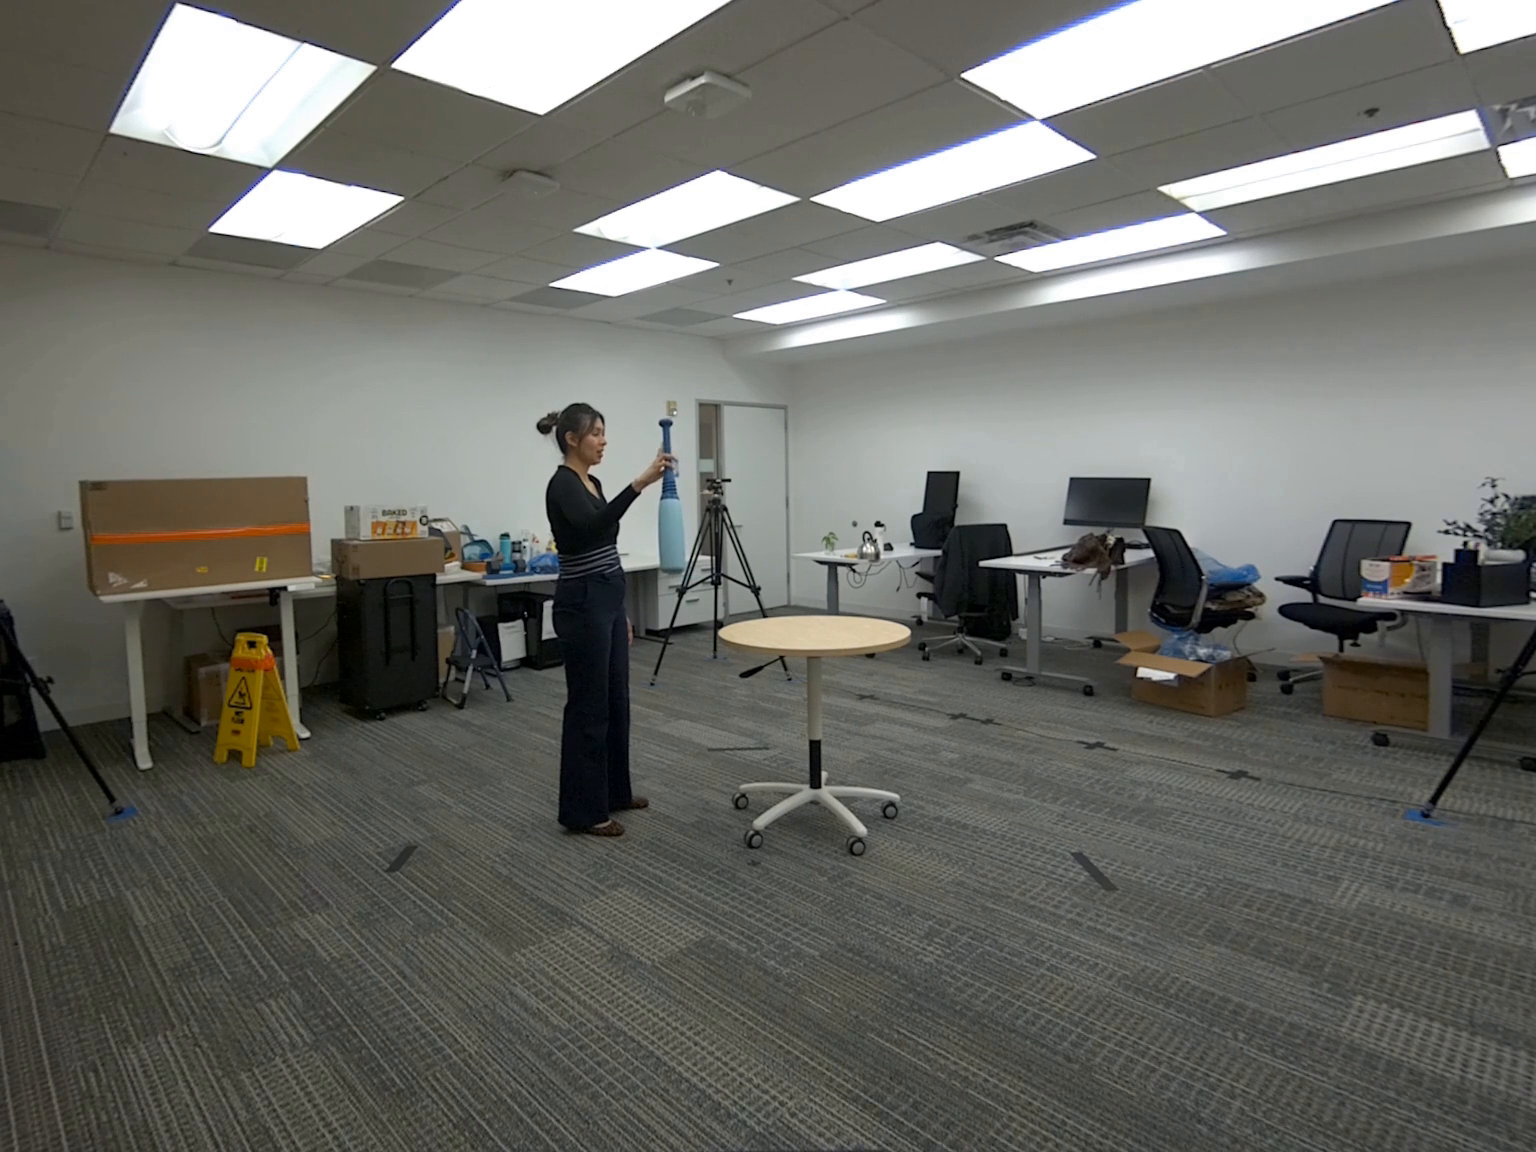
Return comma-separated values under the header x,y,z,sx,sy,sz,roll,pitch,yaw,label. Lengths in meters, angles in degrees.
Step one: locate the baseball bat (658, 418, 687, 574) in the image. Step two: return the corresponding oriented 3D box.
x,y,z,sx,sy,sz,roll,pitch,yaw,label
-0.343,-0.278,2.947,0.089,0.549,0.088,-3,-11,-2,baseball bat
